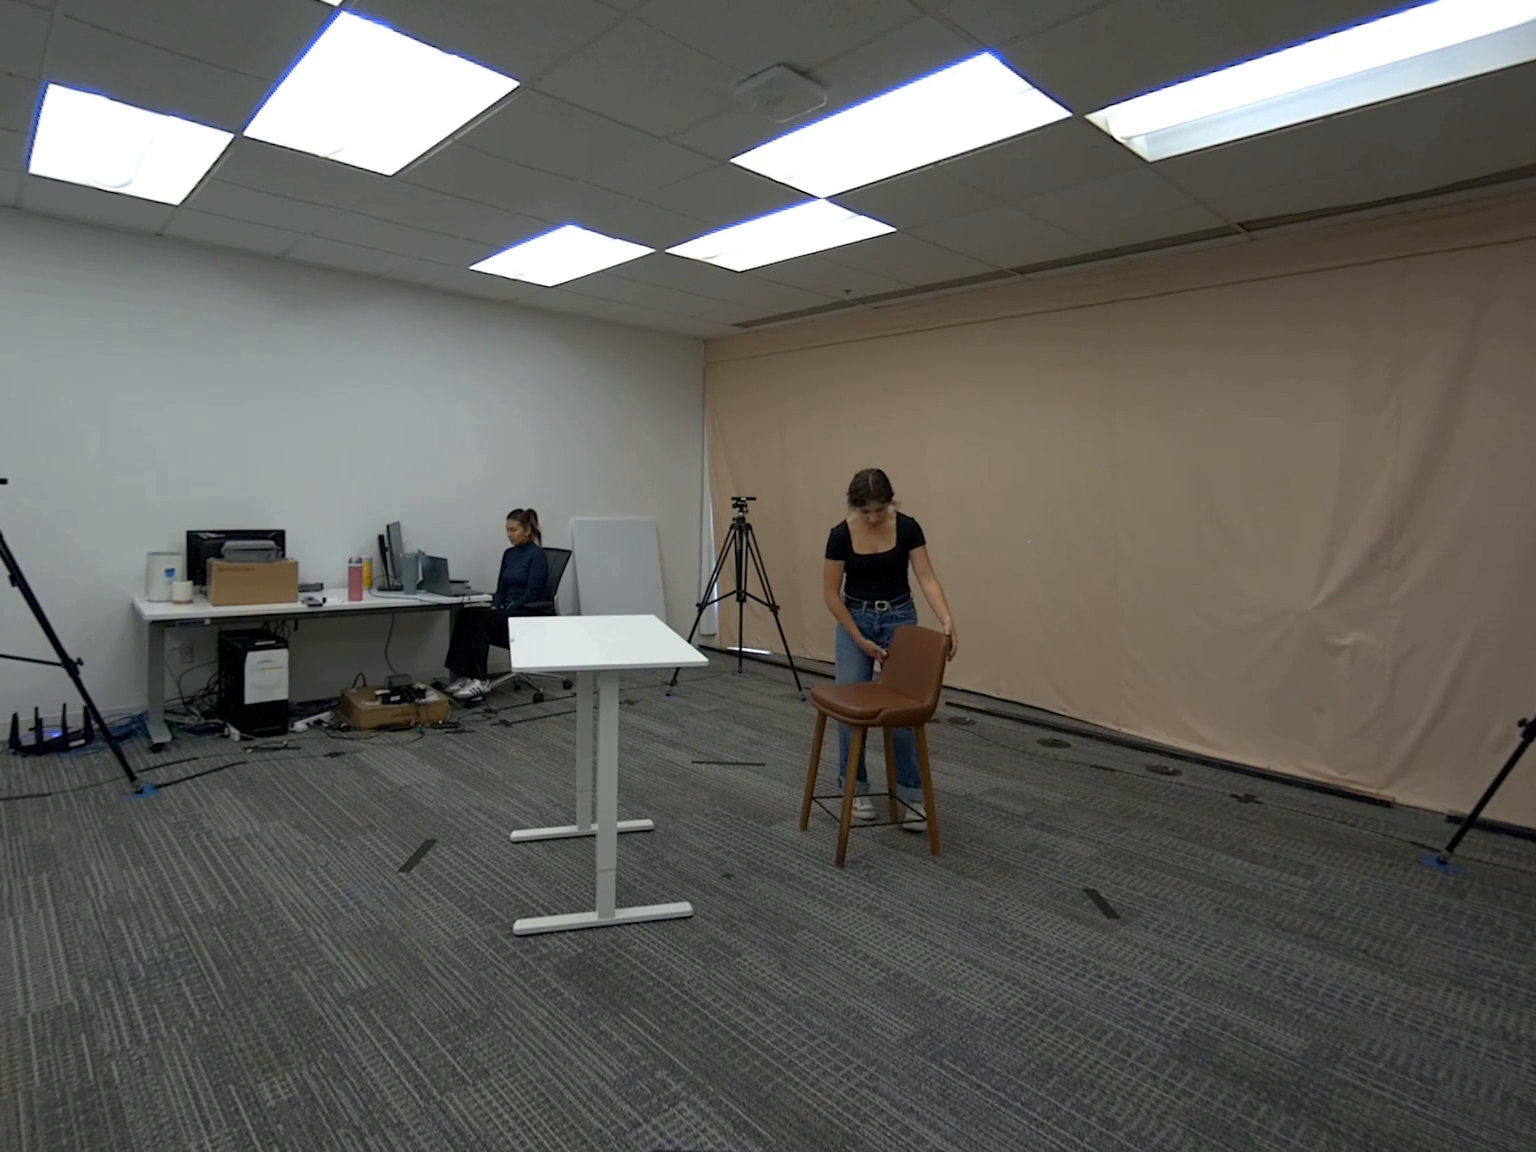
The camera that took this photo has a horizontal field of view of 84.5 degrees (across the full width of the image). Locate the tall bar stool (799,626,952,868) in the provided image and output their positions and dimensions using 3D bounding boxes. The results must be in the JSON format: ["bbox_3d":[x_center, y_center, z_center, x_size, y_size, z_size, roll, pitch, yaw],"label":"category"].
[{"bbox_3d":[0.420,0.656,3.421,0.461,0.888,0.463,3,2,-18],"label":"tall bar stool"}]
